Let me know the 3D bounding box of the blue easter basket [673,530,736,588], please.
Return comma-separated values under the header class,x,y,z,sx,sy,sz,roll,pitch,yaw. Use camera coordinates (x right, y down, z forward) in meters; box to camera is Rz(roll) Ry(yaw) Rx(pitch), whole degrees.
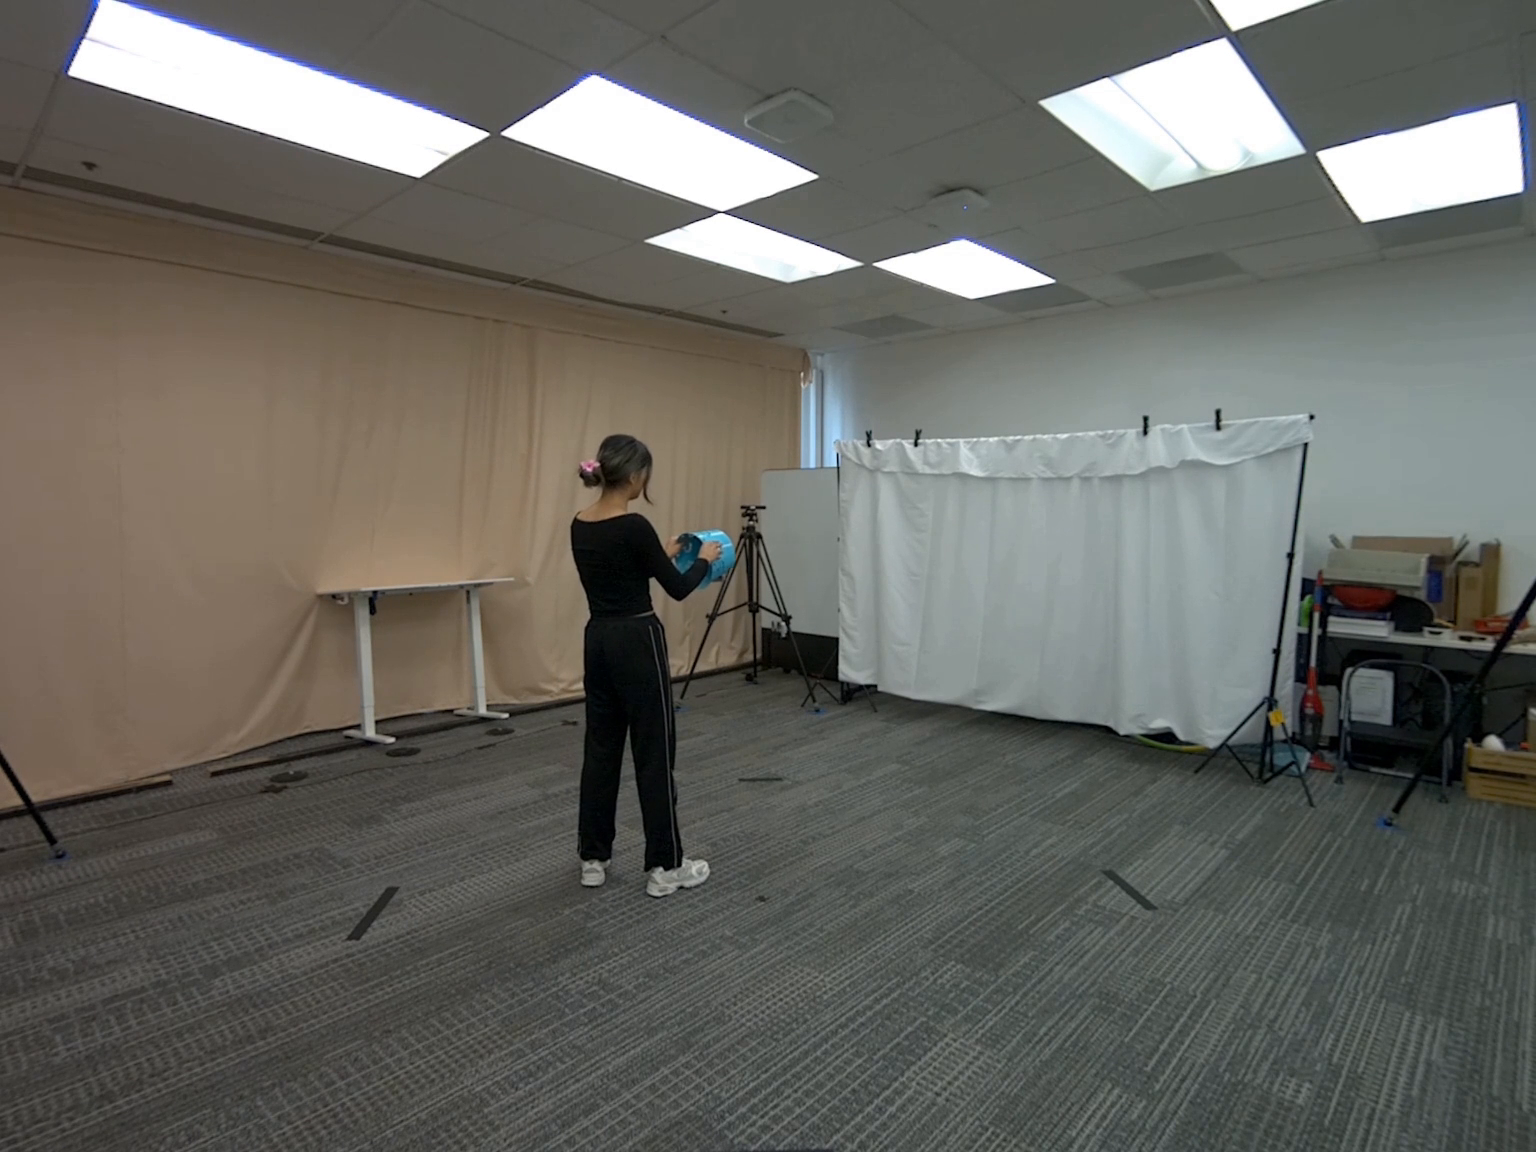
class,x,y,z,sx,sy,sz,roll,pitch,yaw
blue easter basket,-0.244,-0.078,3.417,0.152,0.242,0.252,-14,12,-43
